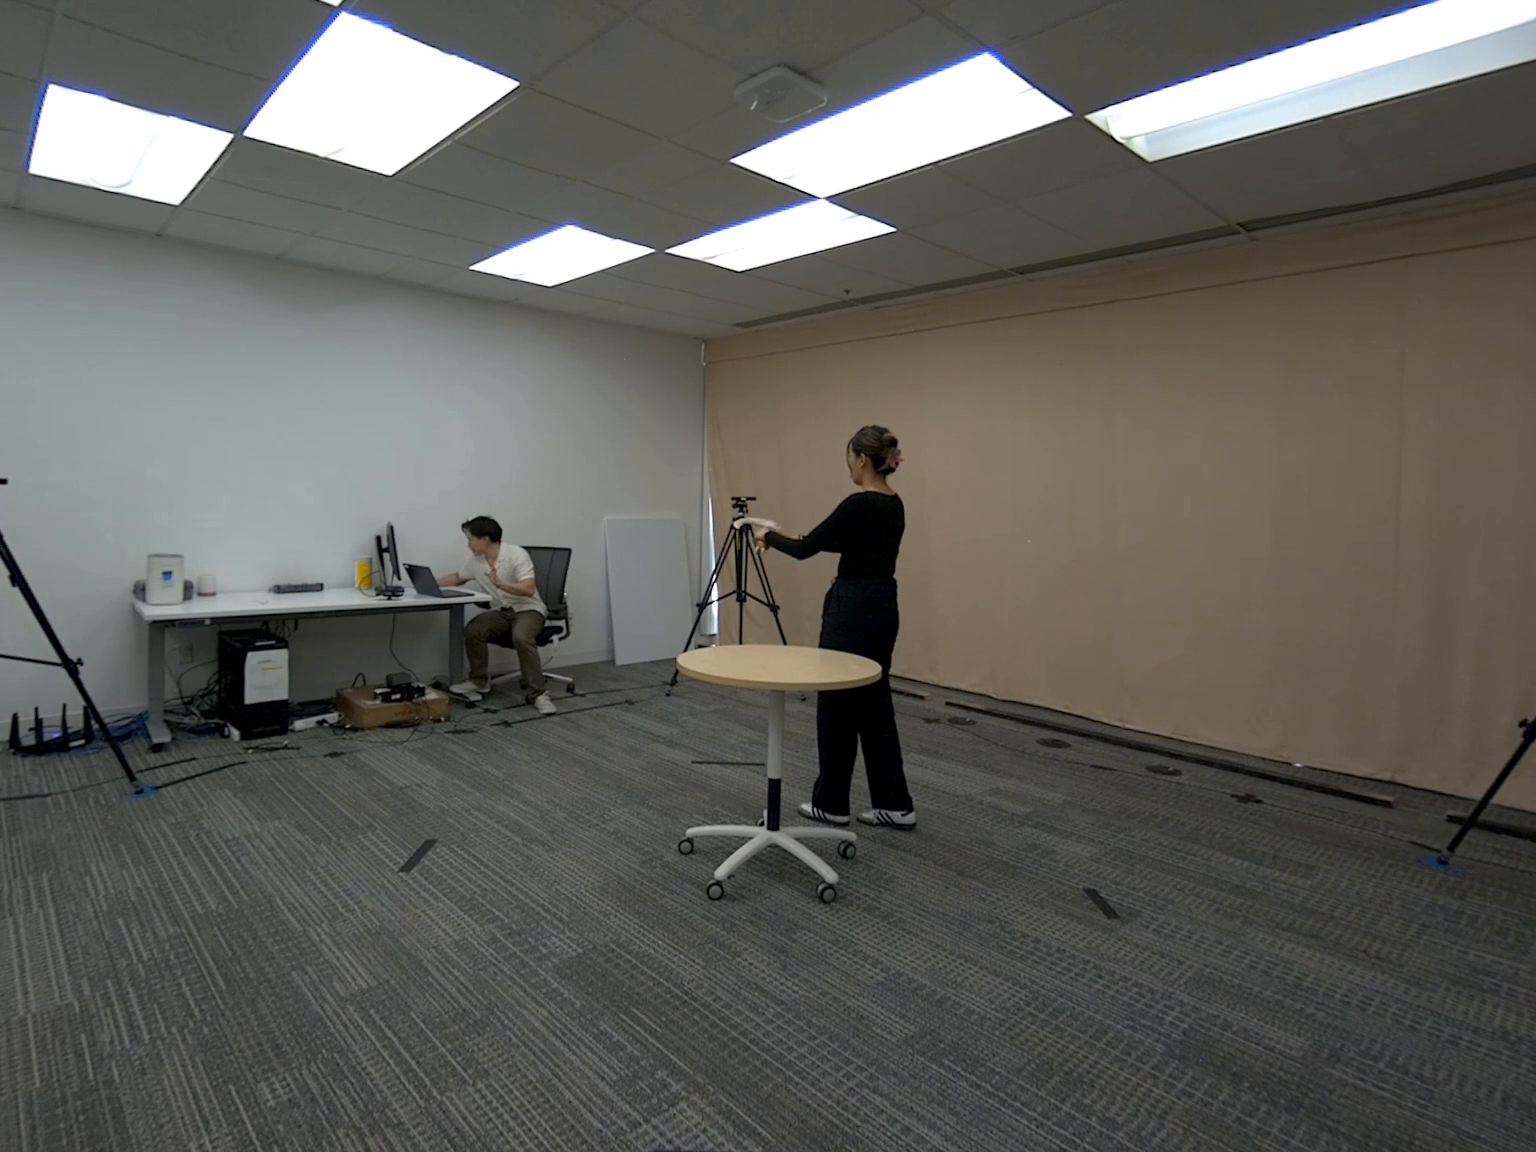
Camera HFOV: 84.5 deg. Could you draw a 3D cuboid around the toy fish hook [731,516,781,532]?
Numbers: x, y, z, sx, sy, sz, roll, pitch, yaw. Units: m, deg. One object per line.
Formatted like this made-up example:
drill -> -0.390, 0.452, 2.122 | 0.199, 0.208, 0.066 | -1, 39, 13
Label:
toy fish hook -> -0.065, -0.189, 3.863 | 0.226, 0.048, 0.509 | 8, 18, 6
